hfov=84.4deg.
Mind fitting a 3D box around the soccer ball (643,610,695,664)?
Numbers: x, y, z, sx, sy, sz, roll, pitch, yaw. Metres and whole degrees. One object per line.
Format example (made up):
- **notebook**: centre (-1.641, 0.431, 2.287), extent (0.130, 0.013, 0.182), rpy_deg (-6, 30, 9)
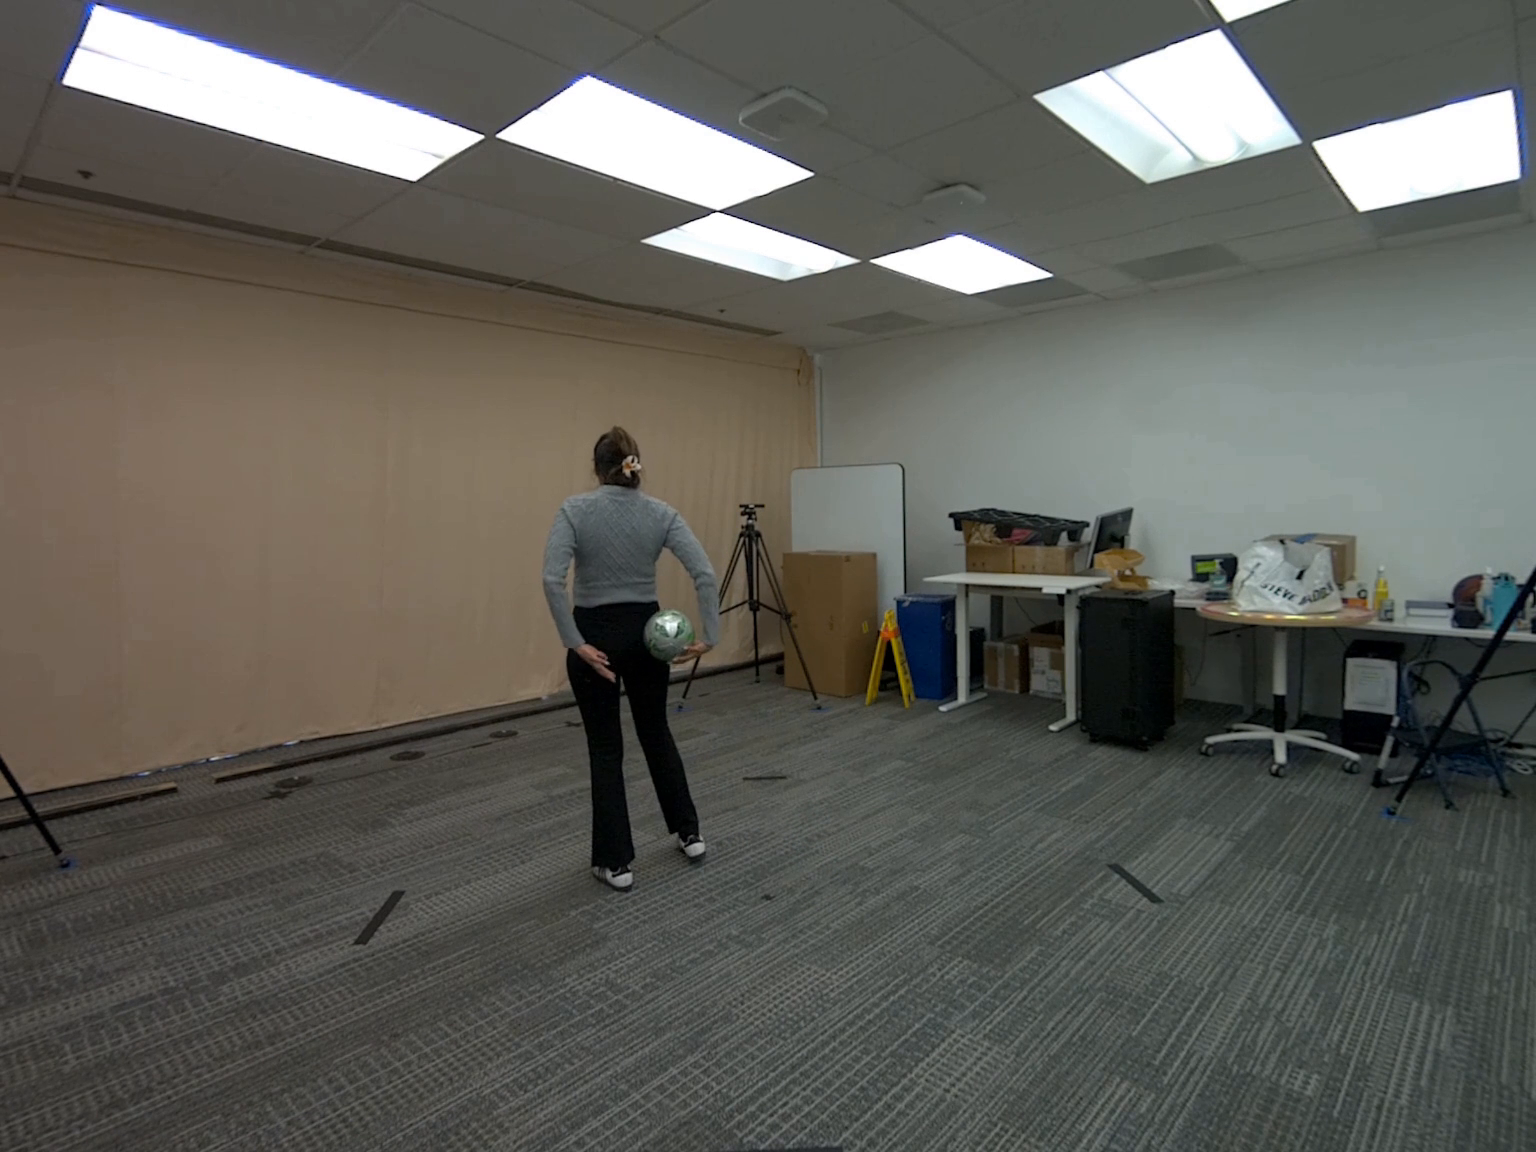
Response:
- **soccer ball**: centre (-0.365, 0.212, 3.053), extent (0.187, 0.187, 0.188), rpy_deg (-1, 4, -2)
